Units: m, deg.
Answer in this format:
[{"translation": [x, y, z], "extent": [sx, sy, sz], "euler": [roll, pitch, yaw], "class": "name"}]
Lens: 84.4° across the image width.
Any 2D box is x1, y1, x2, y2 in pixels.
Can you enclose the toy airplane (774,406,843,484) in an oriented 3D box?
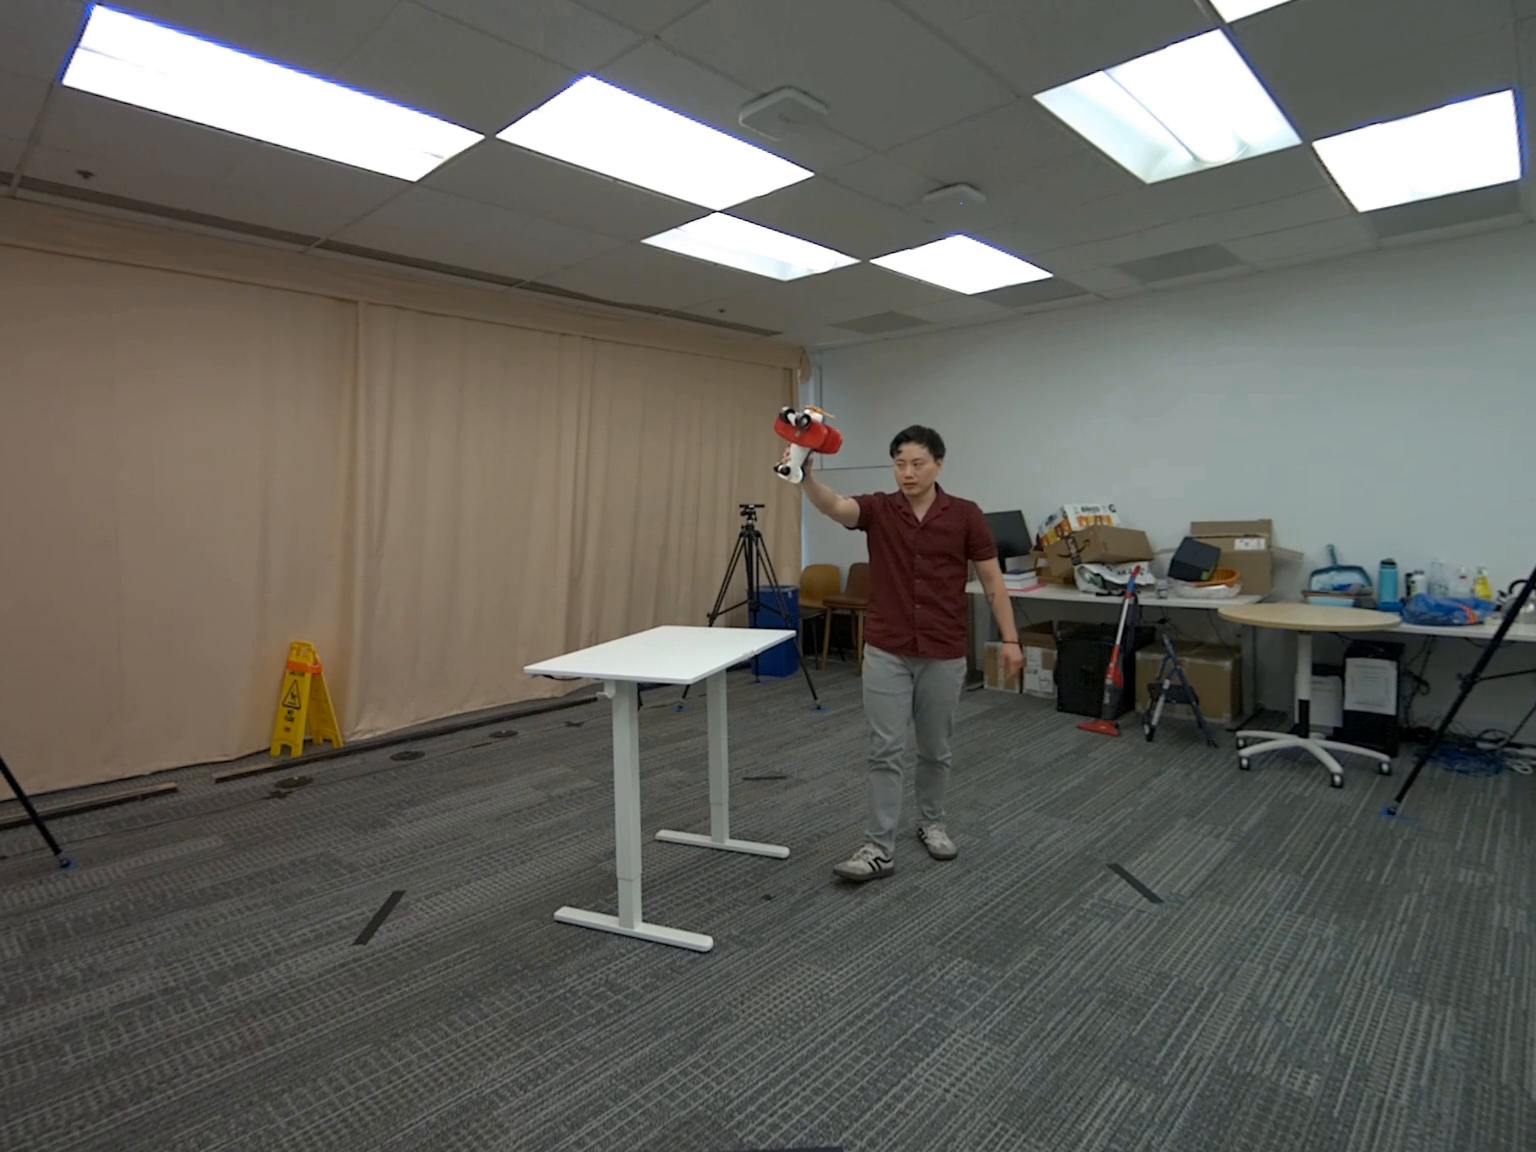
[{"translation": [0.102, -0.457, 2.863], "extent": [0.152, 0.258, 0.260], "euler": [-1, -41, -38], "class": "toy airplane"}]
